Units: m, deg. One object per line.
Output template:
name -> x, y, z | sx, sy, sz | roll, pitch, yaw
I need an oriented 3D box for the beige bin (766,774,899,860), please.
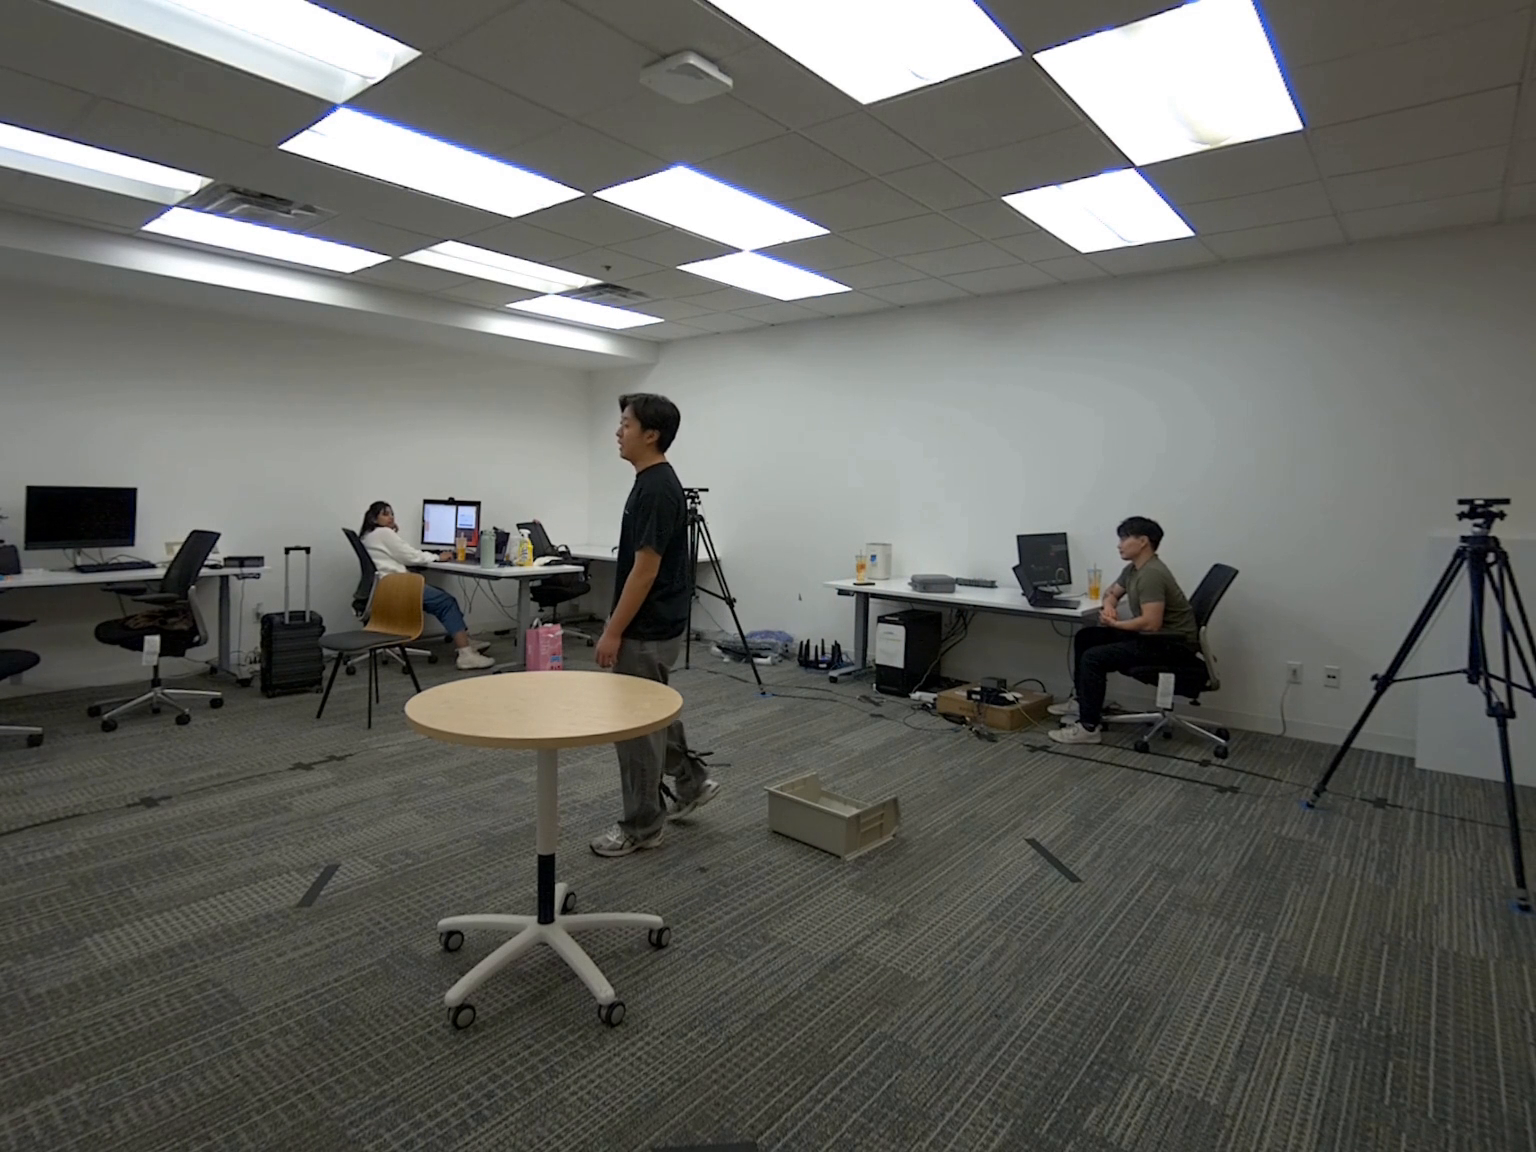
beige bin -> 0.255, 0.959, 3.457 | 0.437, 0.188, 0.366 | 6, 8, 42
